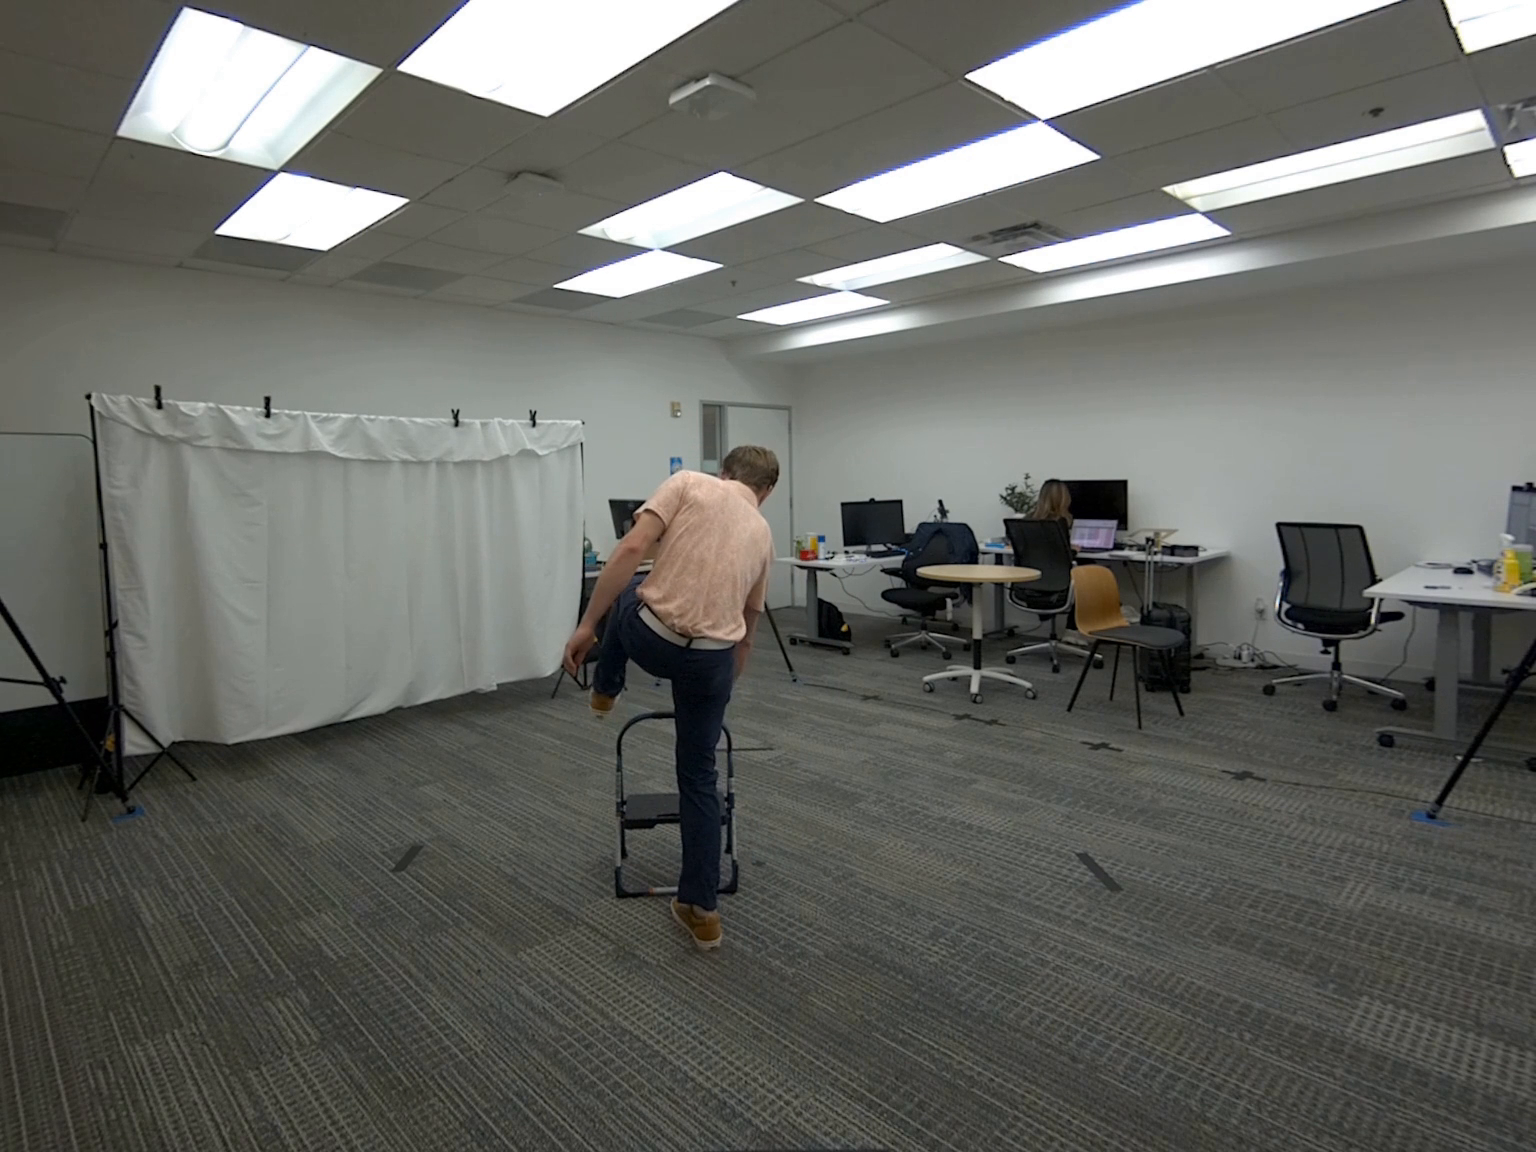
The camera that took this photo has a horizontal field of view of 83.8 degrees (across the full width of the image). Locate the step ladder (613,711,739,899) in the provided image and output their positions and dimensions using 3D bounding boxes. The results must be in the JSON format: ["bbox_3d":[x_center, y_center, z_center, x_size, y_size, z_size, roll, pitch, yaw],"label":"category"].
[{"bbox_3d":[-0.330,0.762,3.021,0.428,0.604,0.352,-2,5,-6],"label":"step ladder"}]
